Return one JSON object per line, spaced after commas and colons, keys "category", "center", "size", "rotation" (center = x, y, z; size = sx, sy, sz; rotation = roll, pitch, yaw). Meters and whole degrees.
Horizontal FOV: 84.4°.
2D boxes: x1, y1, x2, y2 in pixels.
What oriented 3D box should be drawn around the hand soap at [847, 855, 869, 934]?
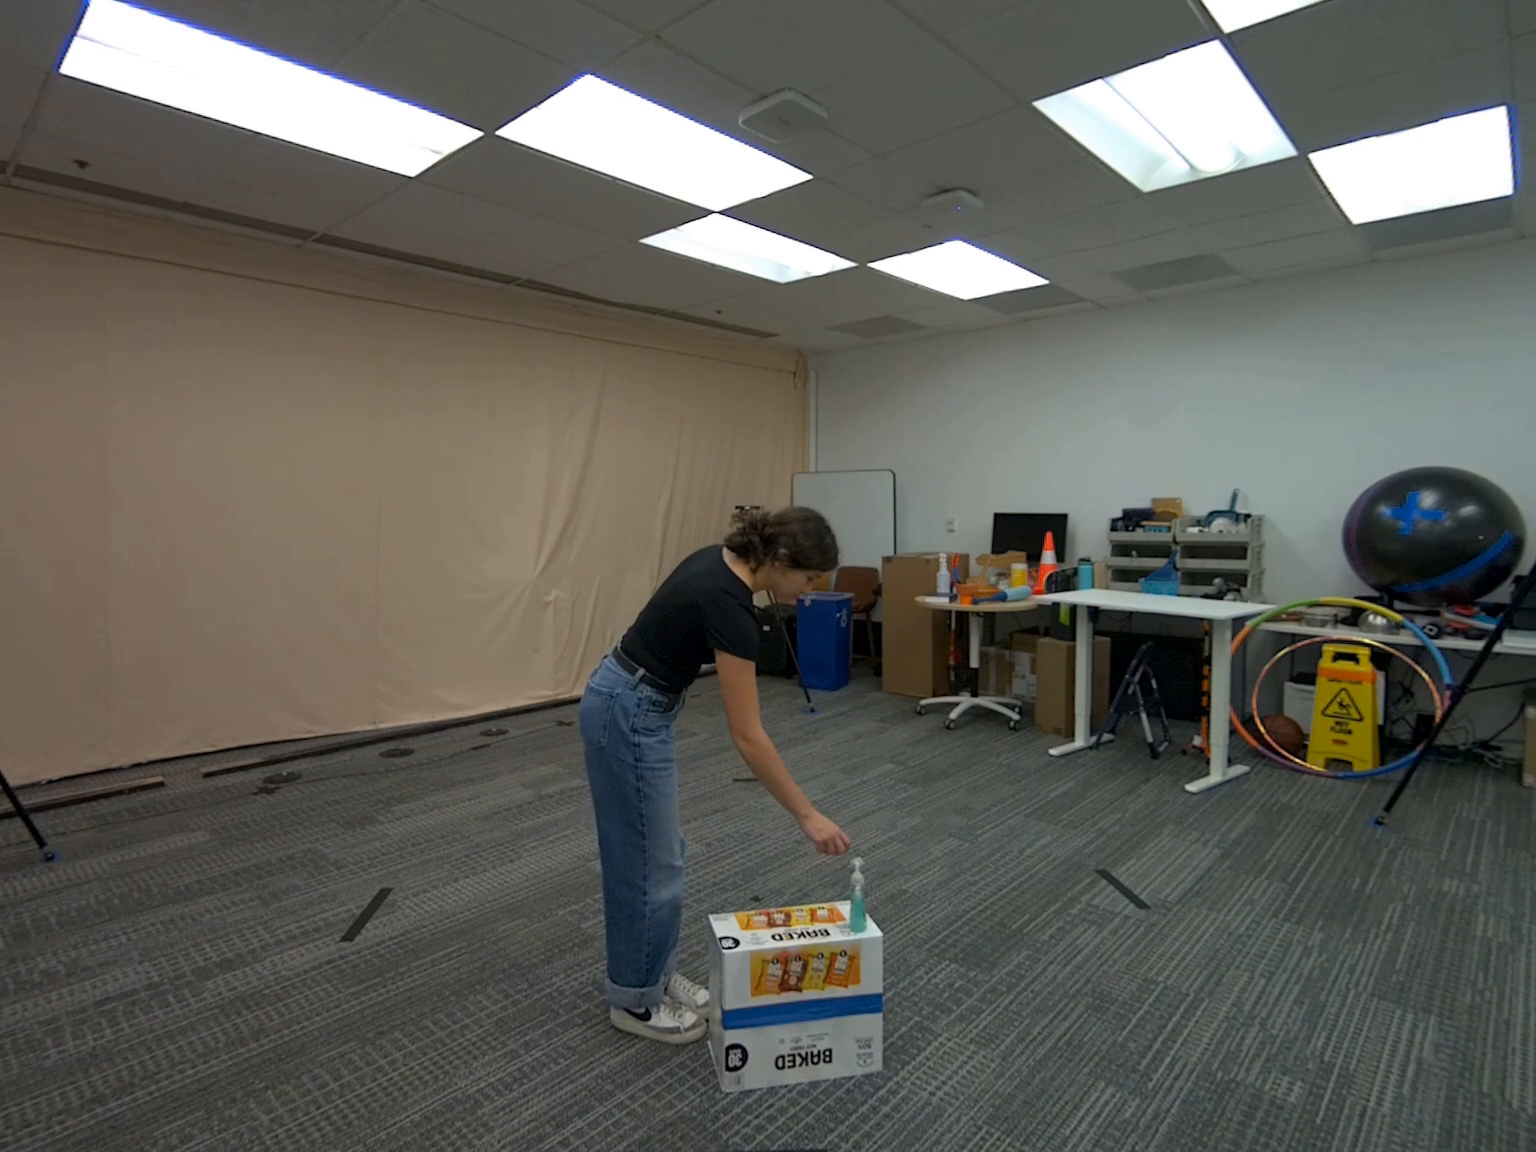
{"category": "hand soap", "center": [0.231, 0.799, 2.091], "size": [0.043, 0.168, 0.085], "rotation": [1, 3, -2]}
